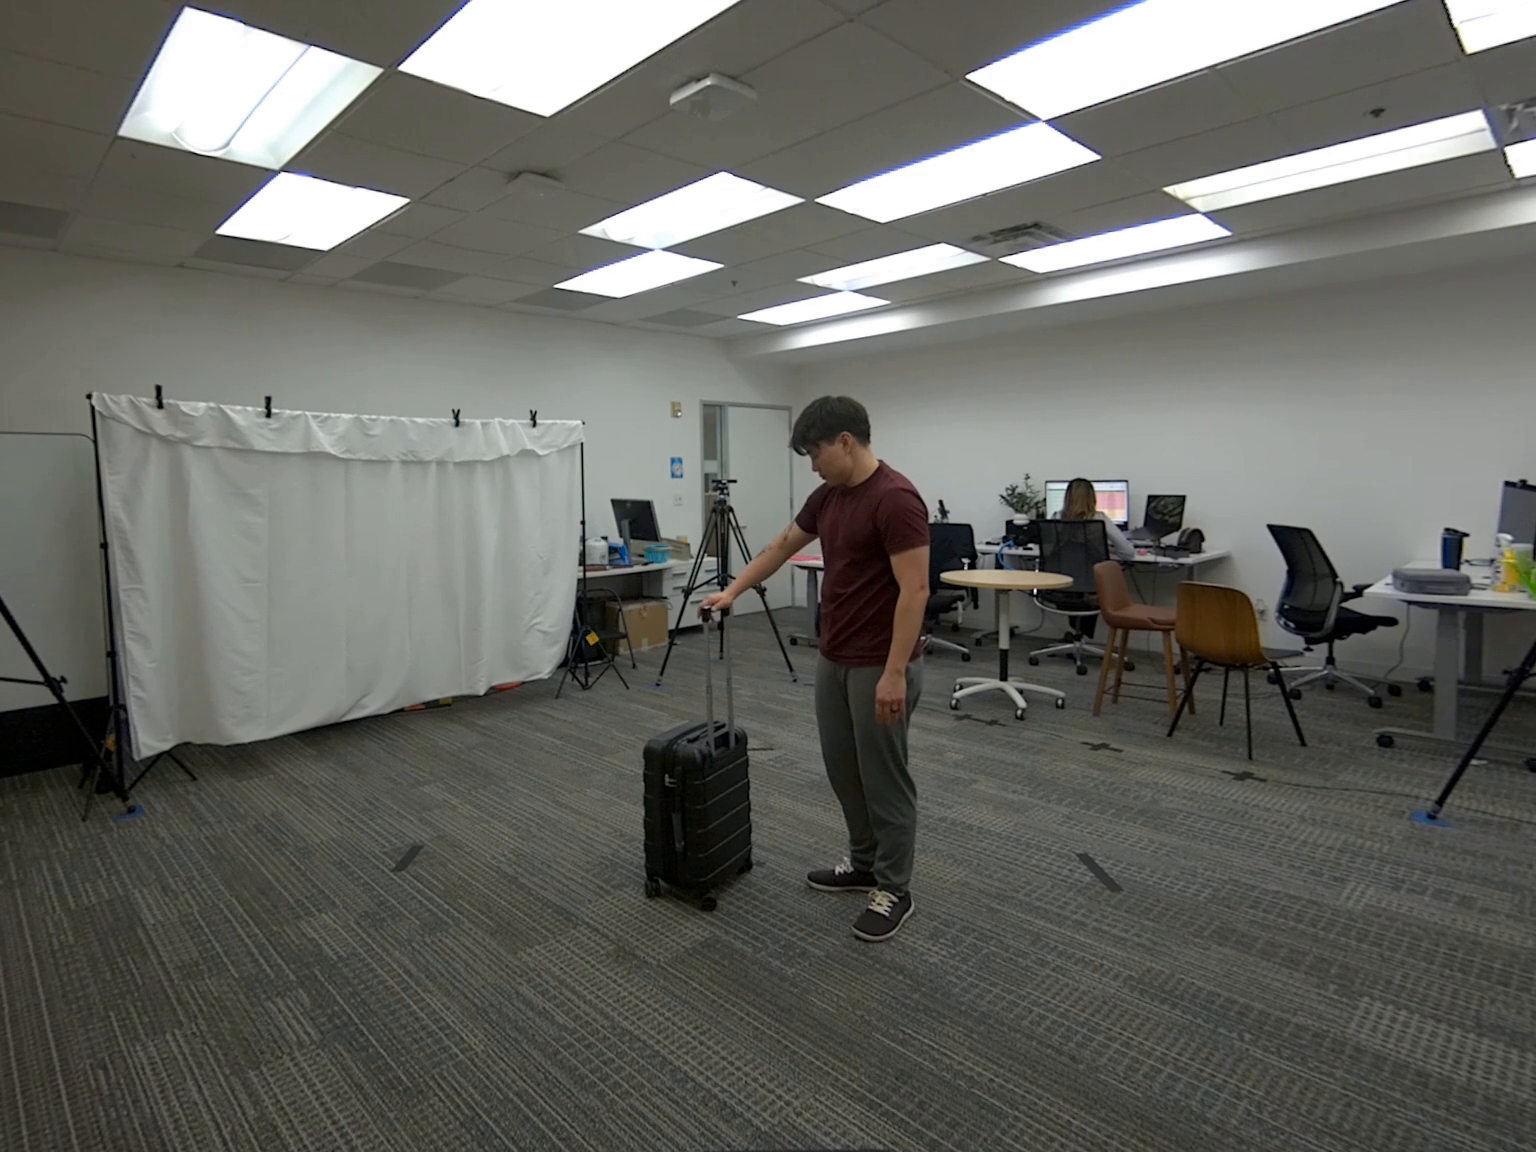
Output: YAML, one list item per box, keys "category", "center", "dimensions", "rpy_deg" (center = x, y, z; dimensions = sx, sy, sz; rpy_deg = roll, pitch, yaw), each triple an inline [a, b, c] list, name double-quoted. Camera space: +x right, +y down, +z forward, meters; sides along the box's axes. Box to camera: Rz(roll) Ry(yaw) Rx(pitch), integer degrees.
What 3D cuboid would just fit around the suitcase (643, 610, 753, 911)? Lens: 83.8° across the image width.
- category: "suitcase"
  center: [-0.248, 0.595, 2.940]
  dimensions: [0.263, 0.975, 0.376]
  rpy_deg: [-1, 5, 29]
